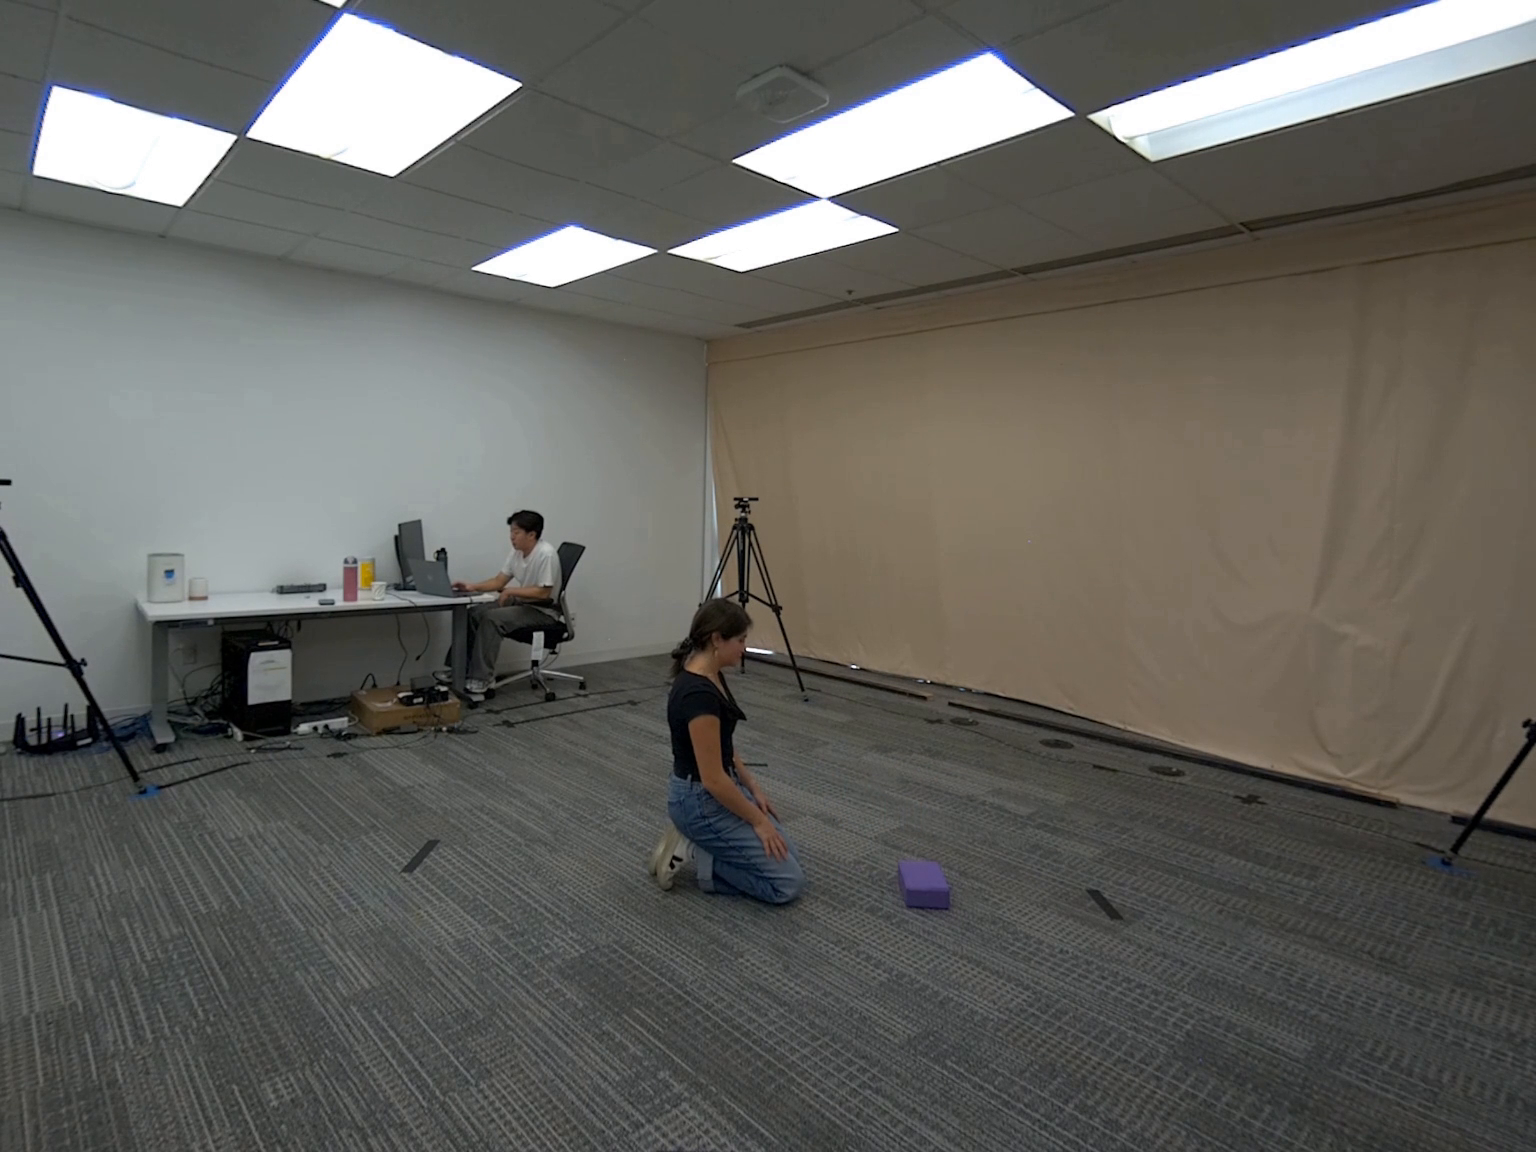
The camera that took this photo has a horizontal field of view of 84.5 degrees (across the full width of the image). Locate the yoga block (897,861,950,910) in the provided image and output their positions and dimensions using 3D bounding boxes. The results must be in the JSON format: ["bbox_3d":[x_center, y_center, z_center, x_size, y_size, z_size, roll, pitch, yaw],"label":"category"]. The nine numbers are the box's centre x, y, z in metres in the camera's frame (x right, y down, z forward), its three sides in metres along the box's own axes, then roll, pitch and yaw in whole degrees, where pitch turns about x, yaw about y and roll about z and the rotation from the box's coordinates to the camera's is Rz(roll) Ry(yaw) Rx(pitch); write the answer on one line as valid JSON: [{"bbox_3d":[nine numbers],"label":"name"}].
[{"bbox_3d":[0.540,1.096,2.991,0.149,0.076,0.229,0,5,2],"label":"yoga block"}]
